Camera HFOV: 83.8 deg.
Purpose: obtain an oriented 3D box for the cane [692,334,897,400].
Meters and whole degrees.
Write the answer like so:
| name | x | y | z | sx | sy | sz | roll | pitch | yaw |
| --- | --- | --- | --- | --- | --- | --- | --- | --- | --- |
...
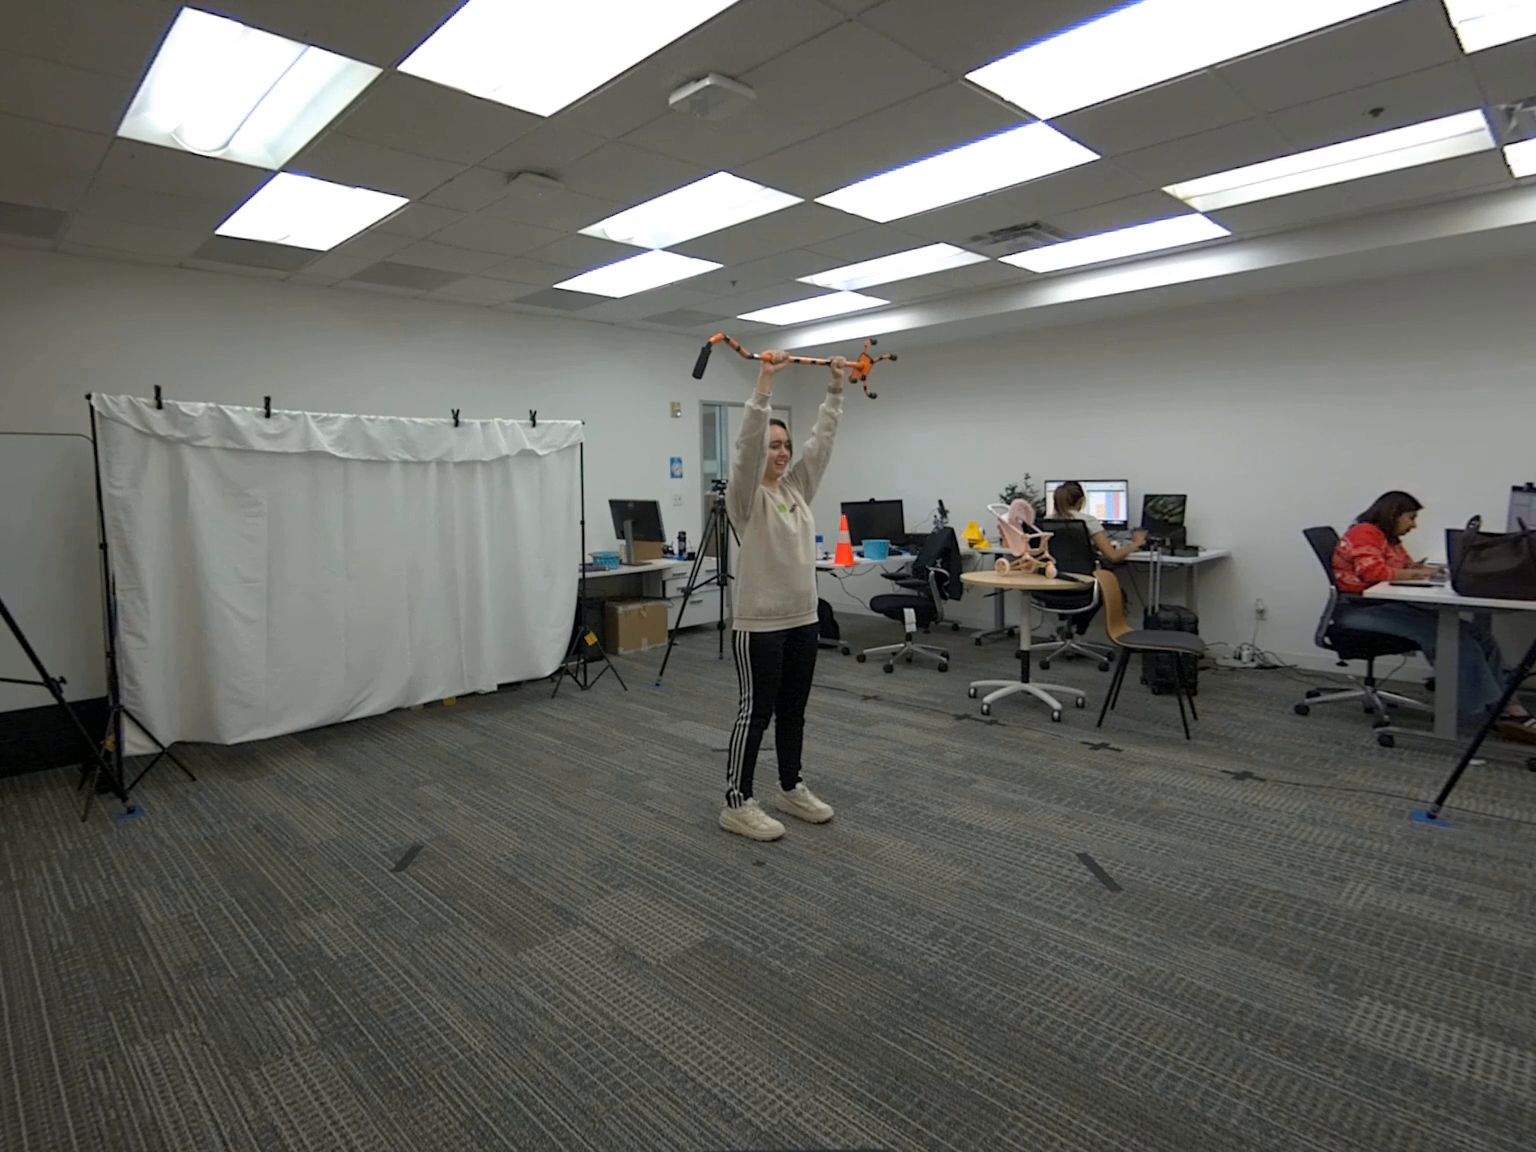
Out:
| name | x | y | z | sx | sy | sz | roll | pitch | yaw |
| --- | --- | --- | --- | --- | --- | --- | --- | --- | --- |
| cane | 0.110 | -0.794 | 3.160 | 0.885 | 0.204 | 0.157 | -8 | 44 | -42 |
